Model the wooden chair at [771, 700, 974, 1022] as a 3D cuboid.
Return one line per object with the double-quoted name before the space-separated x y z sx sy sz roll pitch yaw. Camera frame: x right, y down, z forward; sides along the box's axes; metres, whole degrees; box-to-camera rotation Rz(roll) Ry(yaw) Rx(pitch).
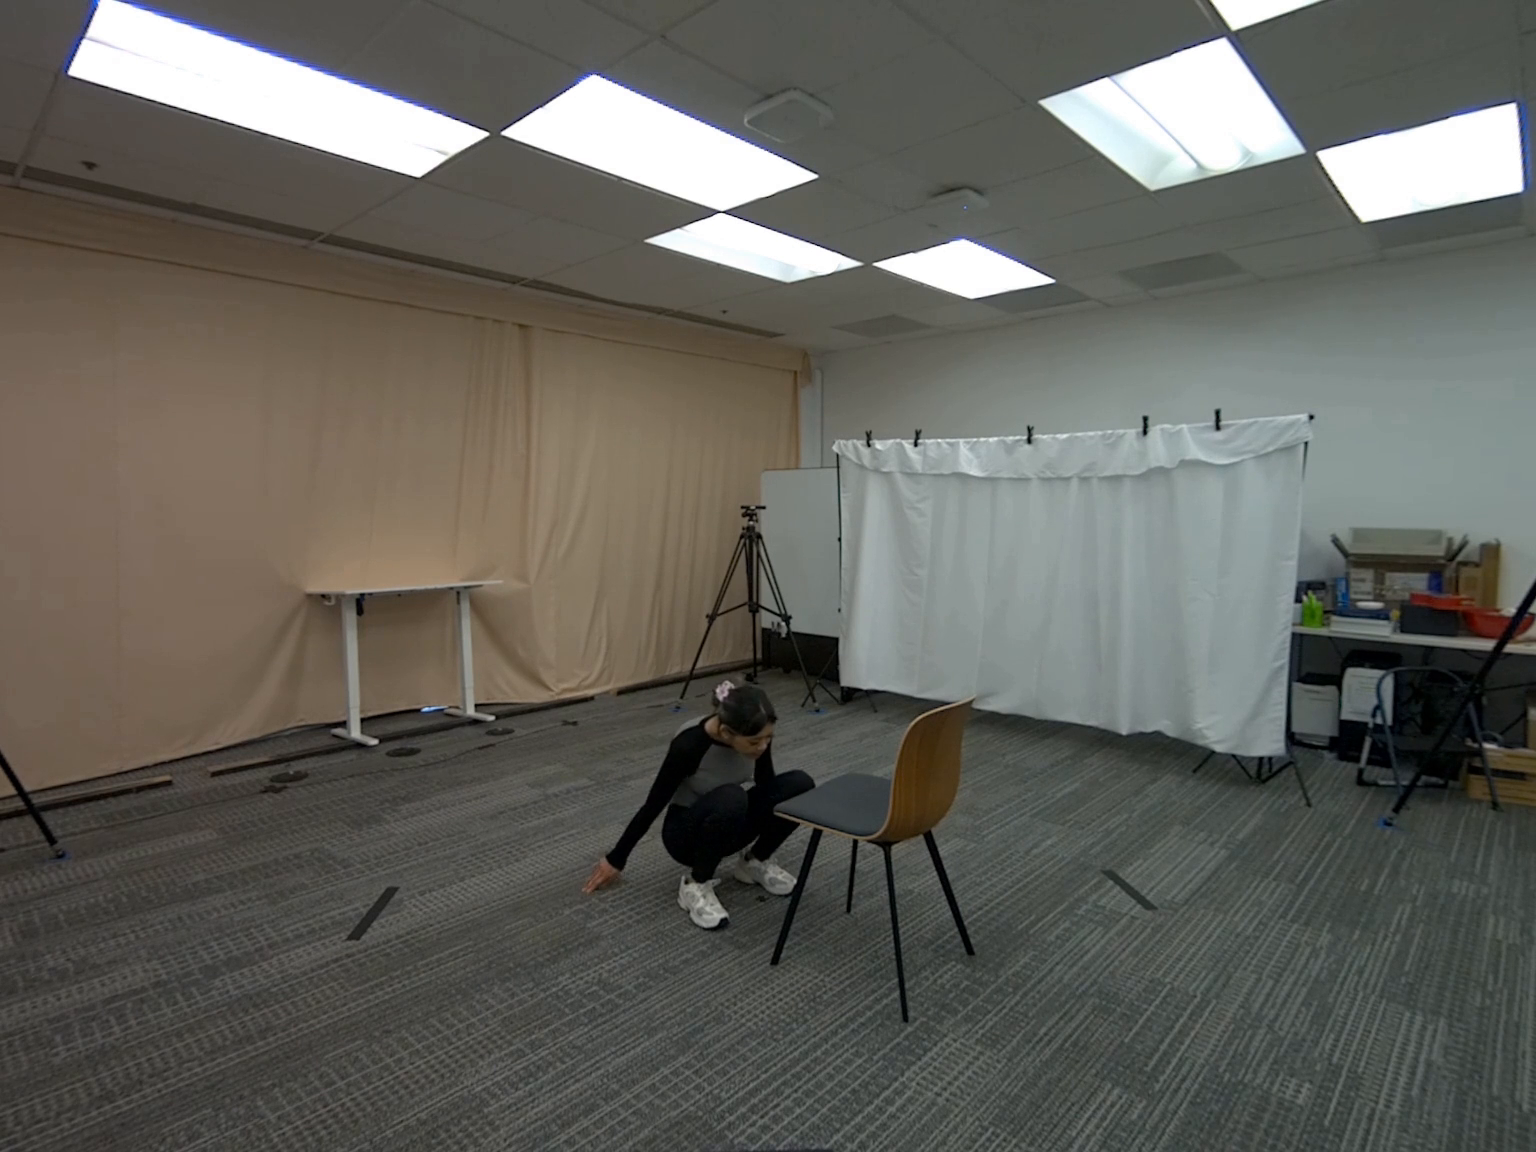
"wooden chair" 0.322 0.752 2.556 0.541 0.874 0.464 8 8 38
